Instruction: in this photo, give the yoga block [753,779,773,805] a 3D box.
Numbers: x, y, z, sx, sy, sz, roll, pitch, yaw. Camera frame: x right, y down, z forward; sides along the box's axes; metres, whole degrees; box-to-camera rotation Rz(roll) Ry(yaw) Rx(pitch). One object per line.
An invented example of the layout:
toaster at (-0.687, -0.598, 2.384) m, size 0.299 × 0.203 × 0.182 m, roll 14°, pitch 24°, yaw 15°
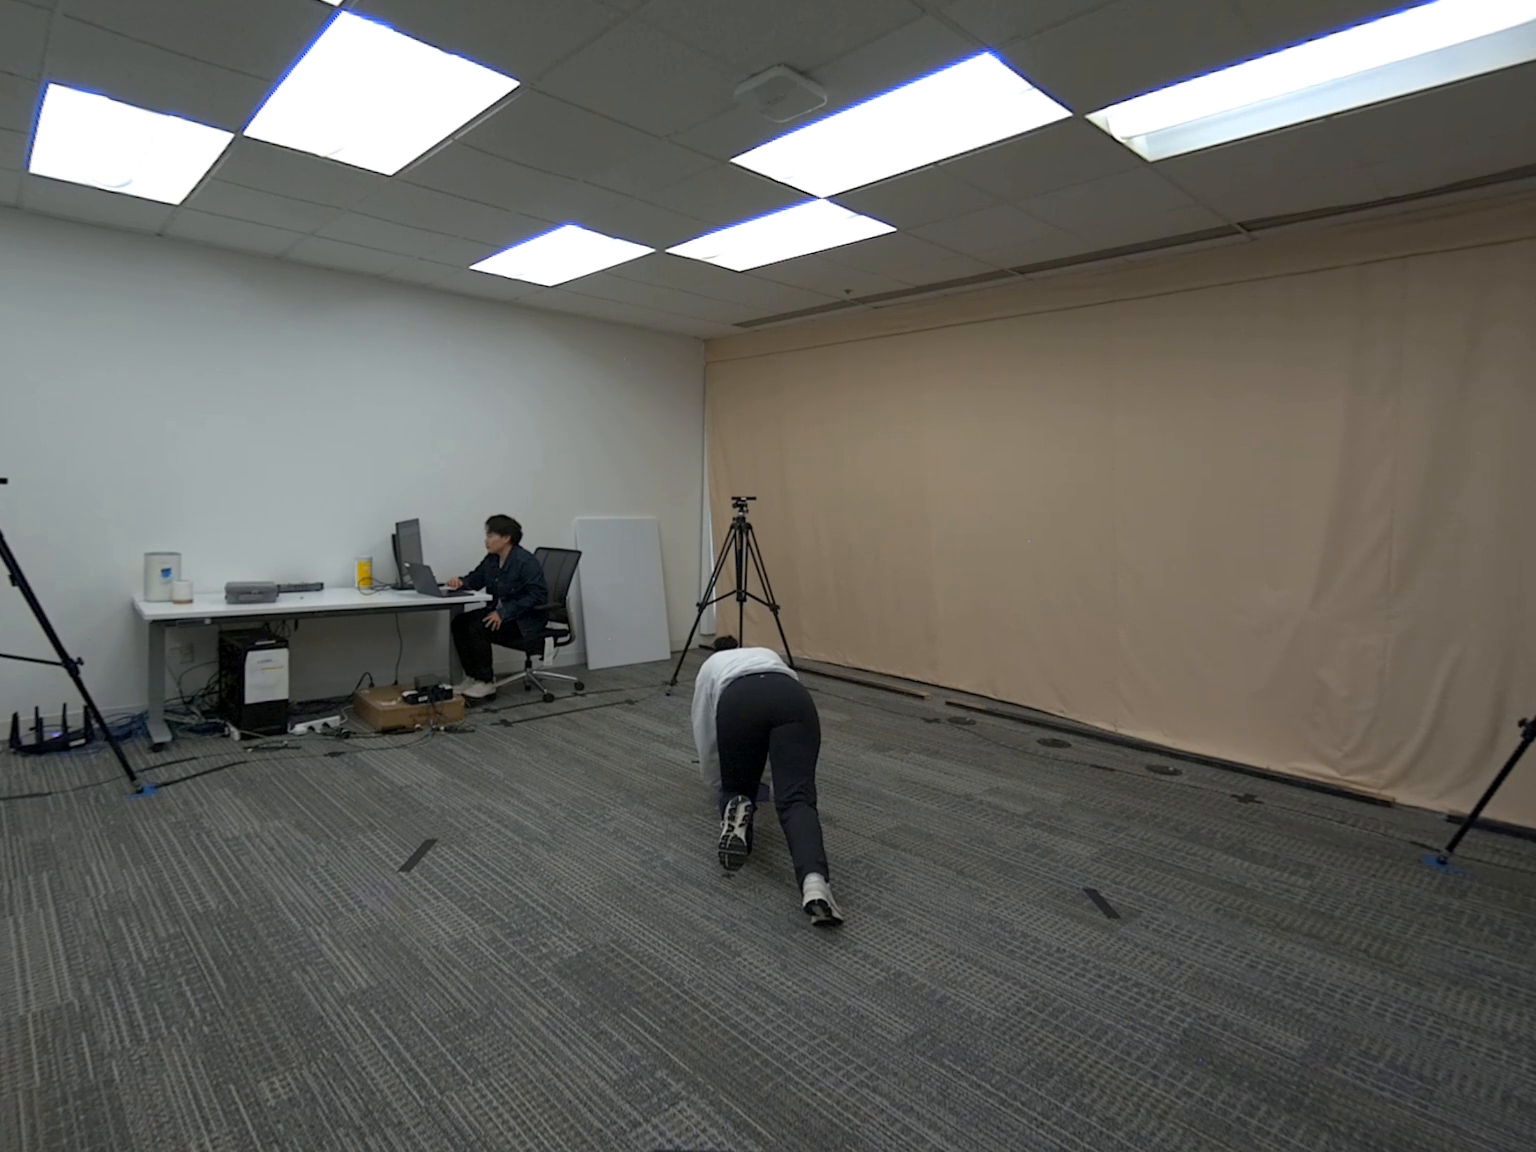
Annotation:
yoga block at (-0.132, 1.009, 3.954) m, size 0.227 × 0.076 × 0.150 m, roll 0°, pitch 3°, yaw -12°
